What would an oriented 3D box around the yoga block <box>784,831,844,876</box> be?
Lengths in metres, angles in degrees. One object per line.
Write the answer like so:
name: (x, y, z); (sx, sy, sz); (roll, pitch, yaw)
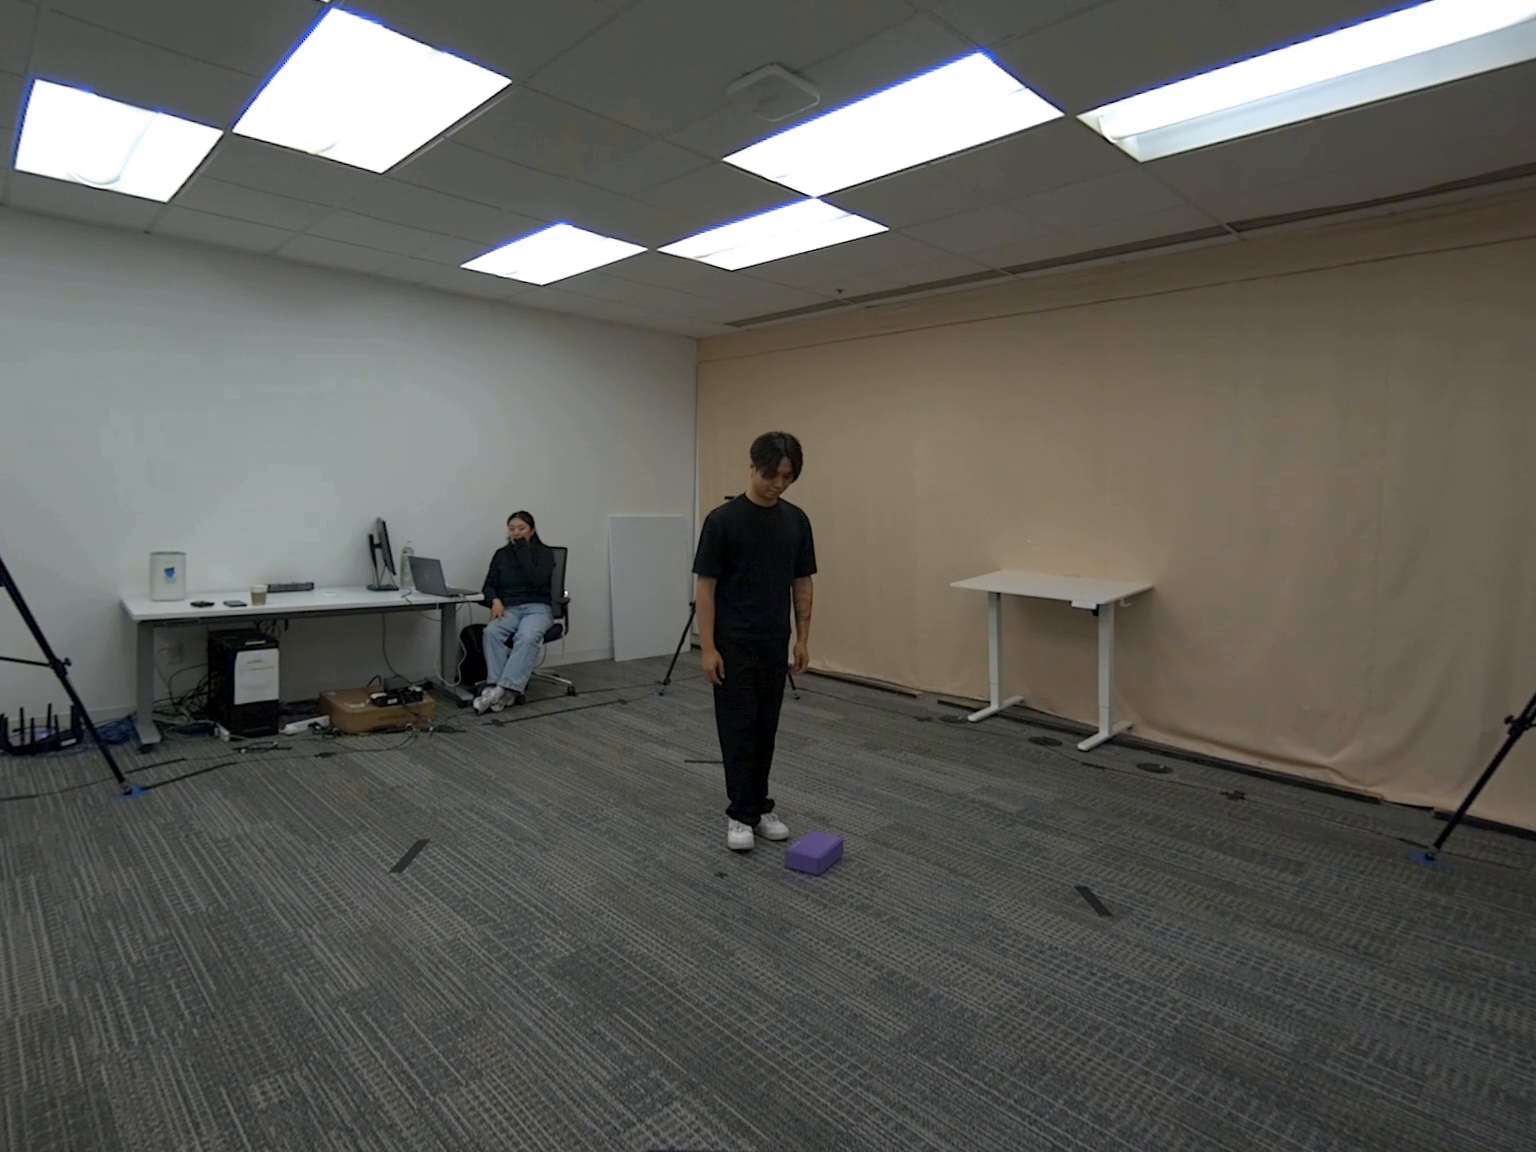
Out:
yoga block: (0.170, 1.060, 3.229); (0.152, 0.076, 0.225); (3, 5, 29)
